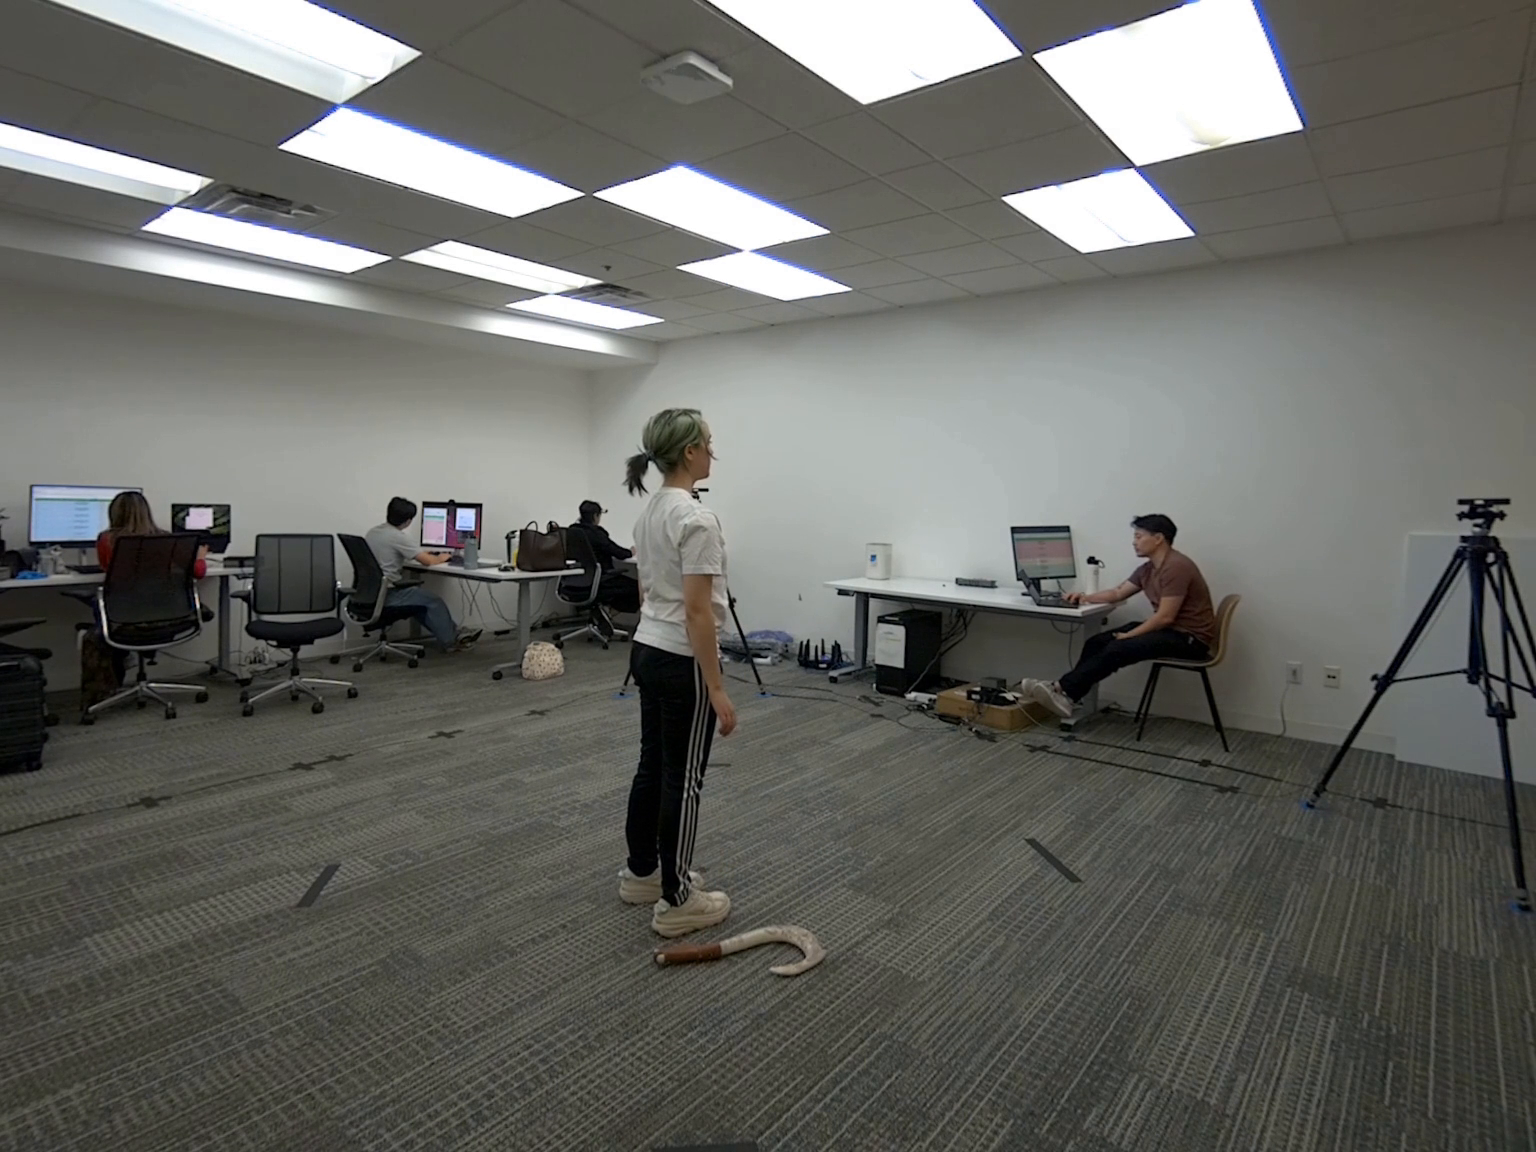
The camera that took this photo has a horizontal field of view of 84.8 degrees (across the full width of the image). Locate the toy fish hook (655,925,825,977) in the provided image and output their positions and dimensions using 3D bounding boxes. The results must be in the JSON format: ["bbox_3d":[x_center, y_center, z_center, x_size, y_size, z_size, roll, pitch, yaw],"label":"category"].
[{"bbox_3d":[-0.084,1.110,2.495,0.497,0.048,0.229,-1,5,-19],"label":"toy fish hook"}]
